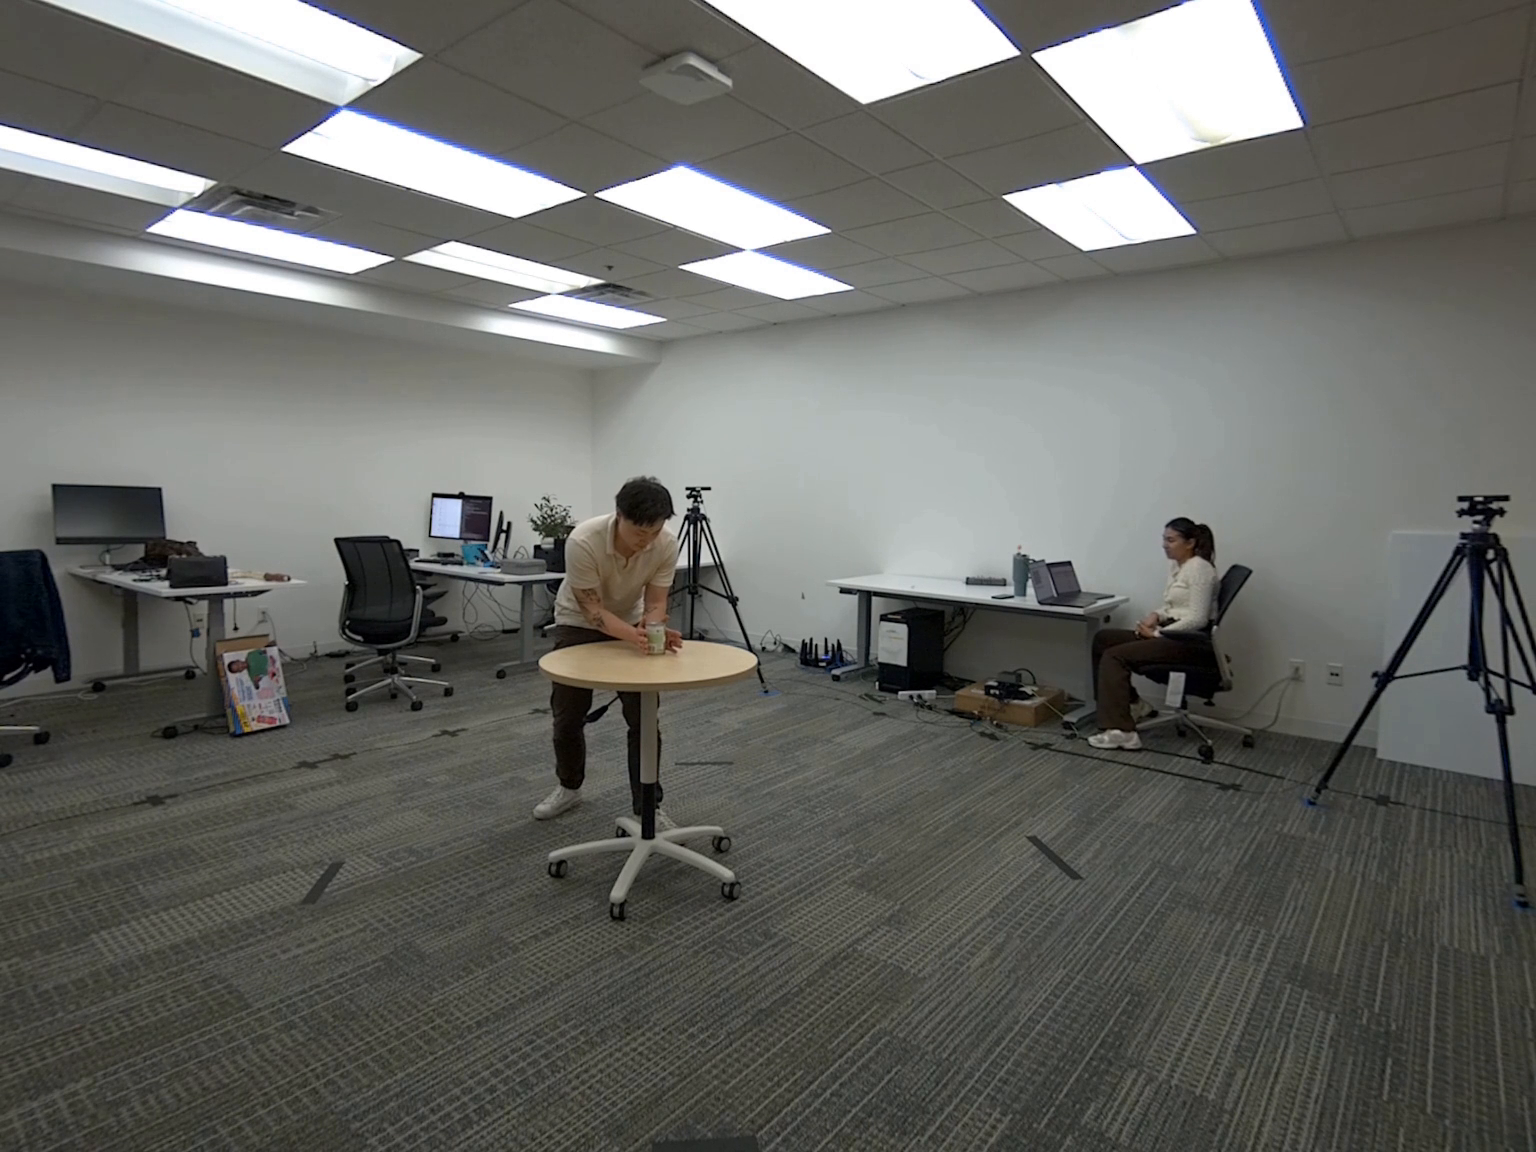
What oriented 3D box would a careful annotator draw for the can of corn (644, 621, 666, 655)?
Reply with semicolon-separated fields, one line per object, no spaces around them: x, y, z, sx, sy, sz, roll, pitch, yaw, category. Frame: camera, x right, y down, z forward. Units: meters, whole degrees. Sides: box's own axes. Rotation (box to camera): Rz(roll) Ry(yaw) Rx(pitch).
-0.430;0.226;3.092;0.074;0.111;0.074;-2;2;-2;can of corn
